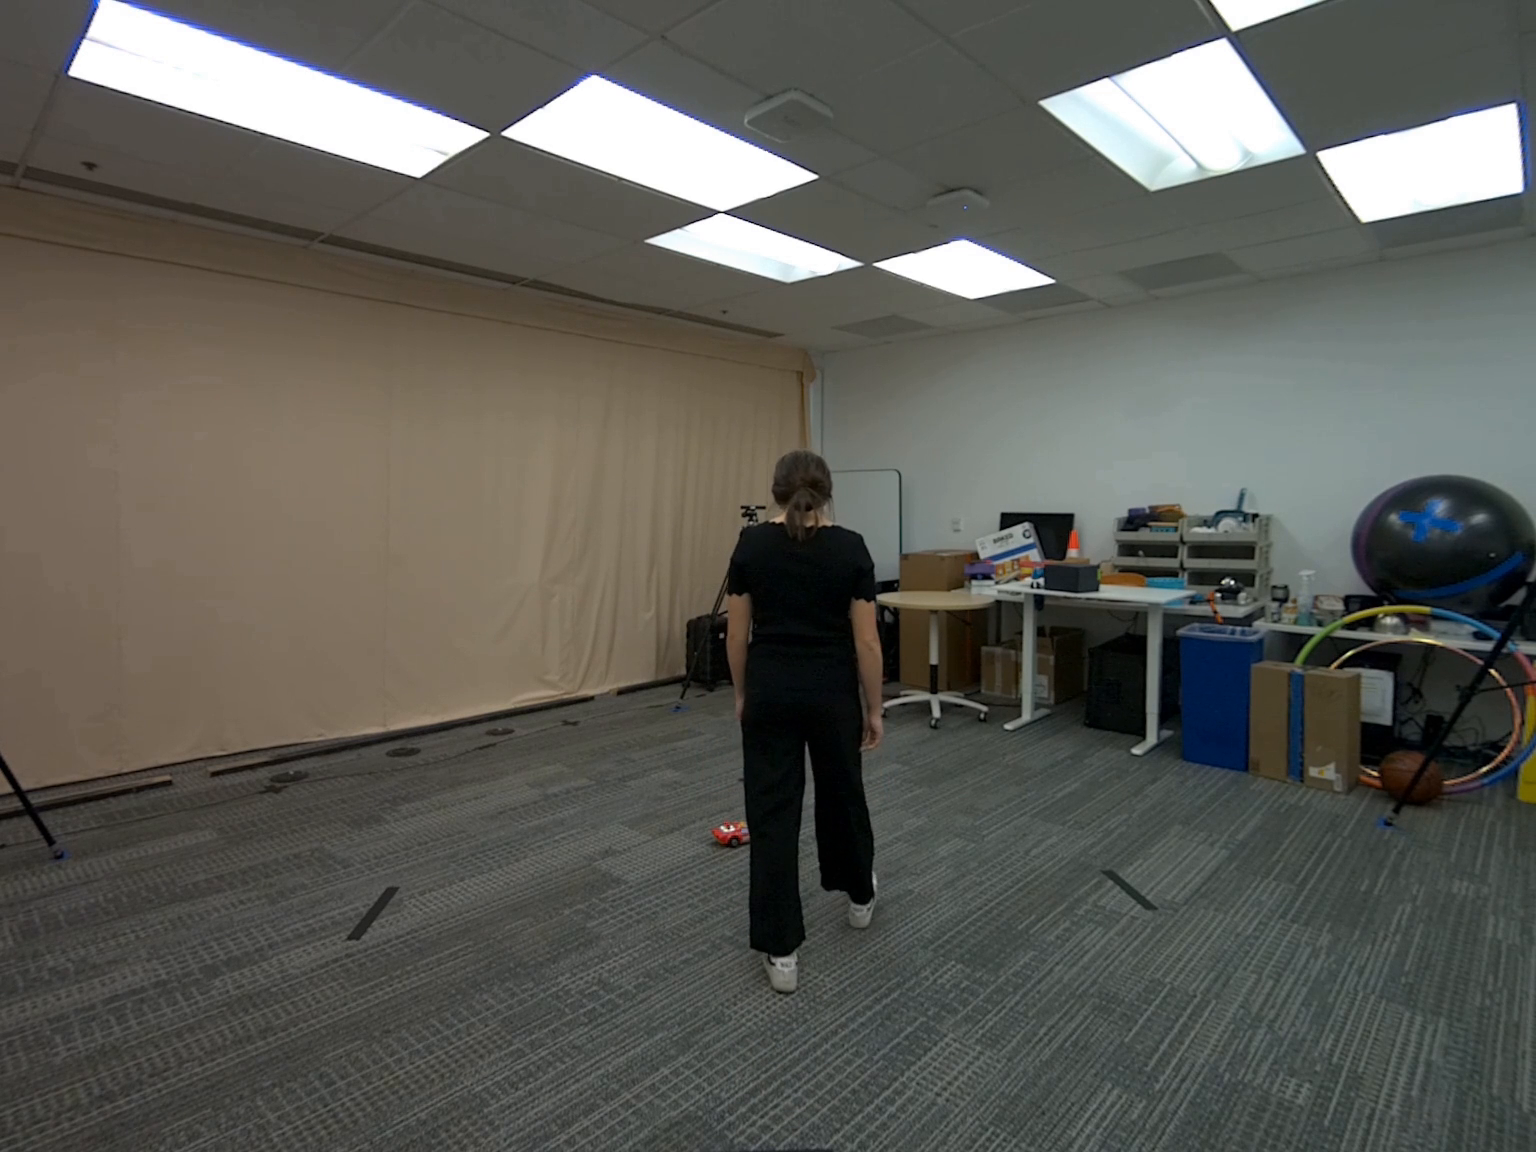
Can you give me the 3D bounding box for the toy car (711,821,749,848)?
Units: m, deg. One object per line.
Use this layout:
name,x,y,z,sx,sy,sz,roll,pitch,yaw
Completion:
toy car,-0.116,1.069,3.492,0.249,0.083,0.133,11,-2,-21
